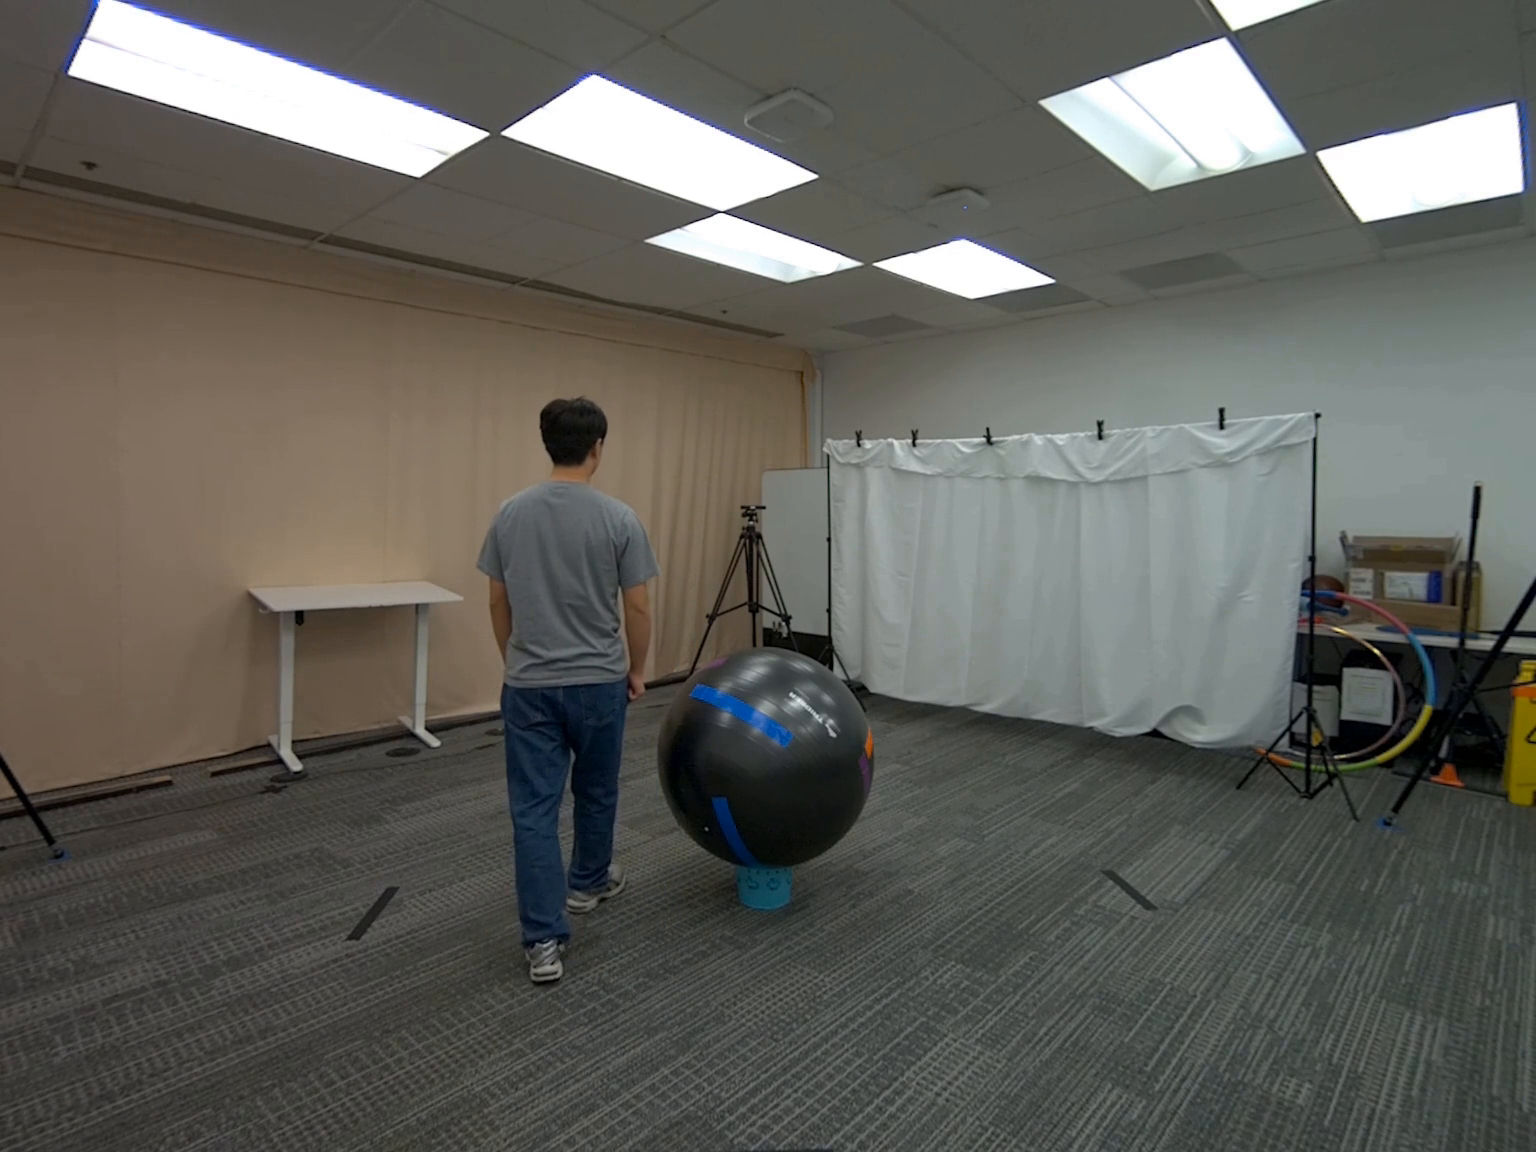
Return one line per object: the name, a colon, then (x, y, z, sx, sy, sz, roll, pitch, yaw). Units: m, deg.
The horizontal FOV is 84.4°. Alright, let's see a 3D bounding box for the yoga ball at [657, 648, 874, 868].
yoga ball: (-0.008, 0.633, 2.976, 0.757, 0.756, 0.760, 0, 4, -2)
